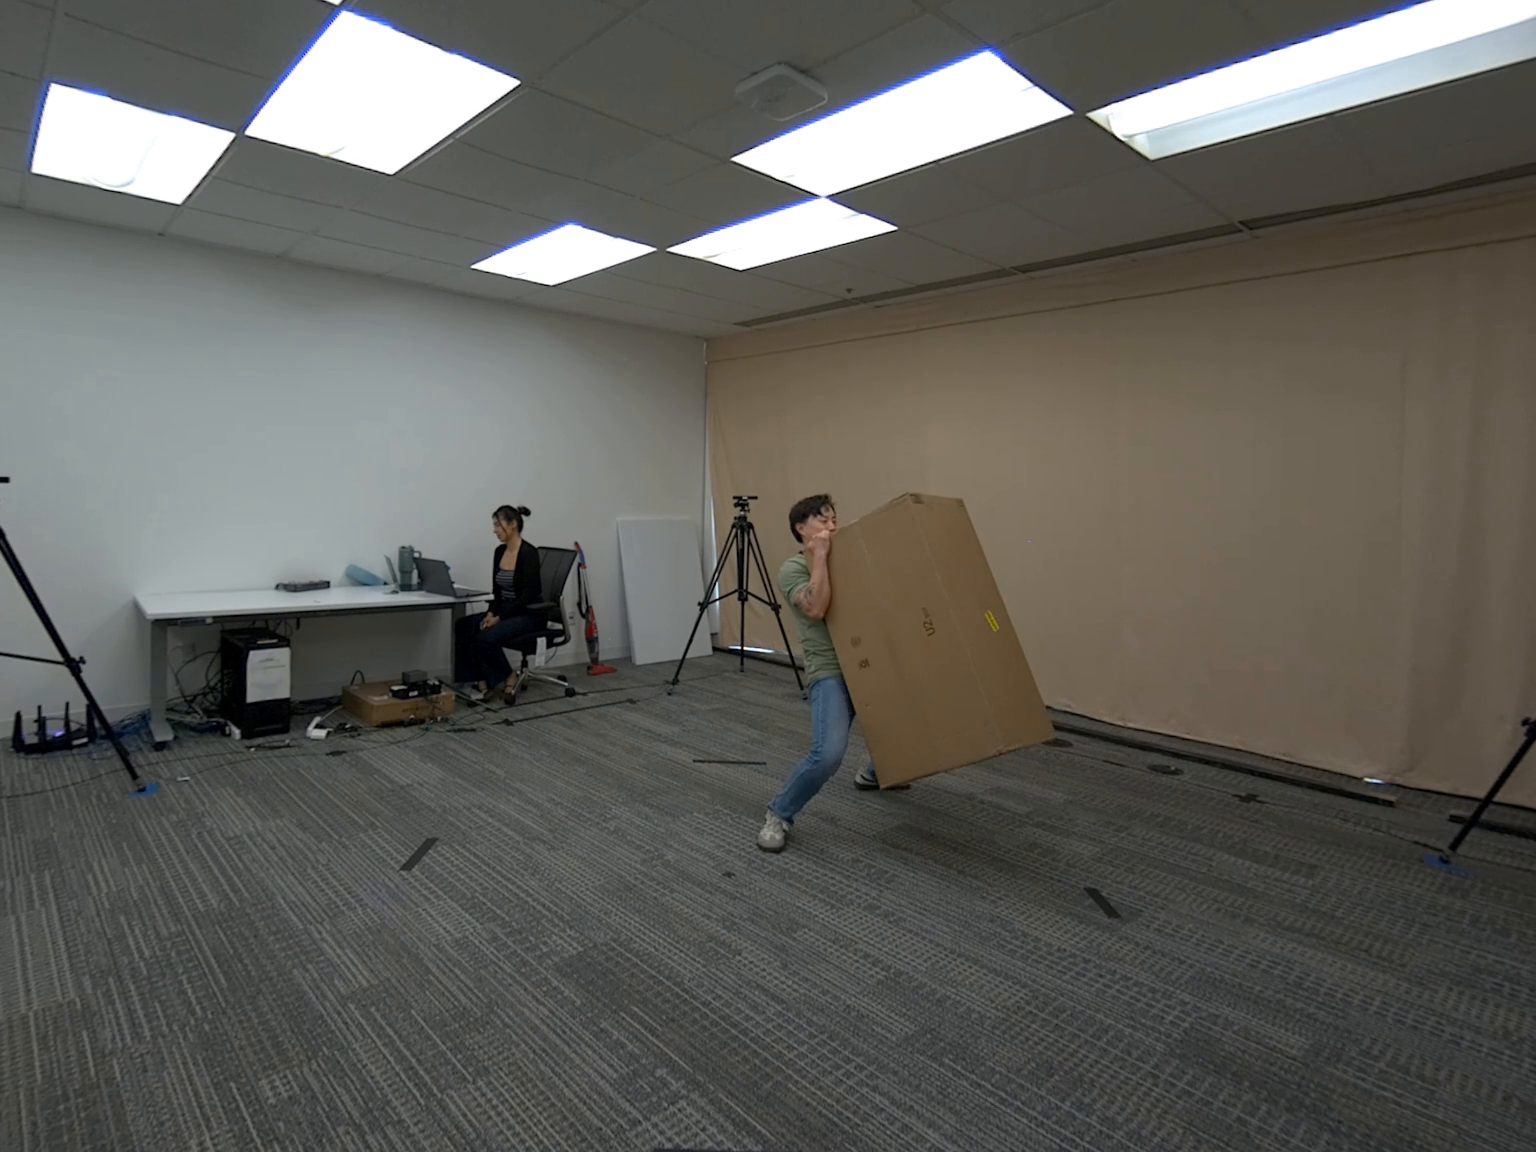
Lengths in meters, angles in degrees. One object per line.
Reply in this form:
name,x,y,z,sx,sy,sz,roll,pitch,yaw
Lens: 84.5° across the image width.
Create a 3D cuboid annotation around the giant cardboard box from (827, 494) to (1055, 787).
giant cardboard box,0.629,0.239,3.404,0.416,1.043,0.582,2,-25,-45
